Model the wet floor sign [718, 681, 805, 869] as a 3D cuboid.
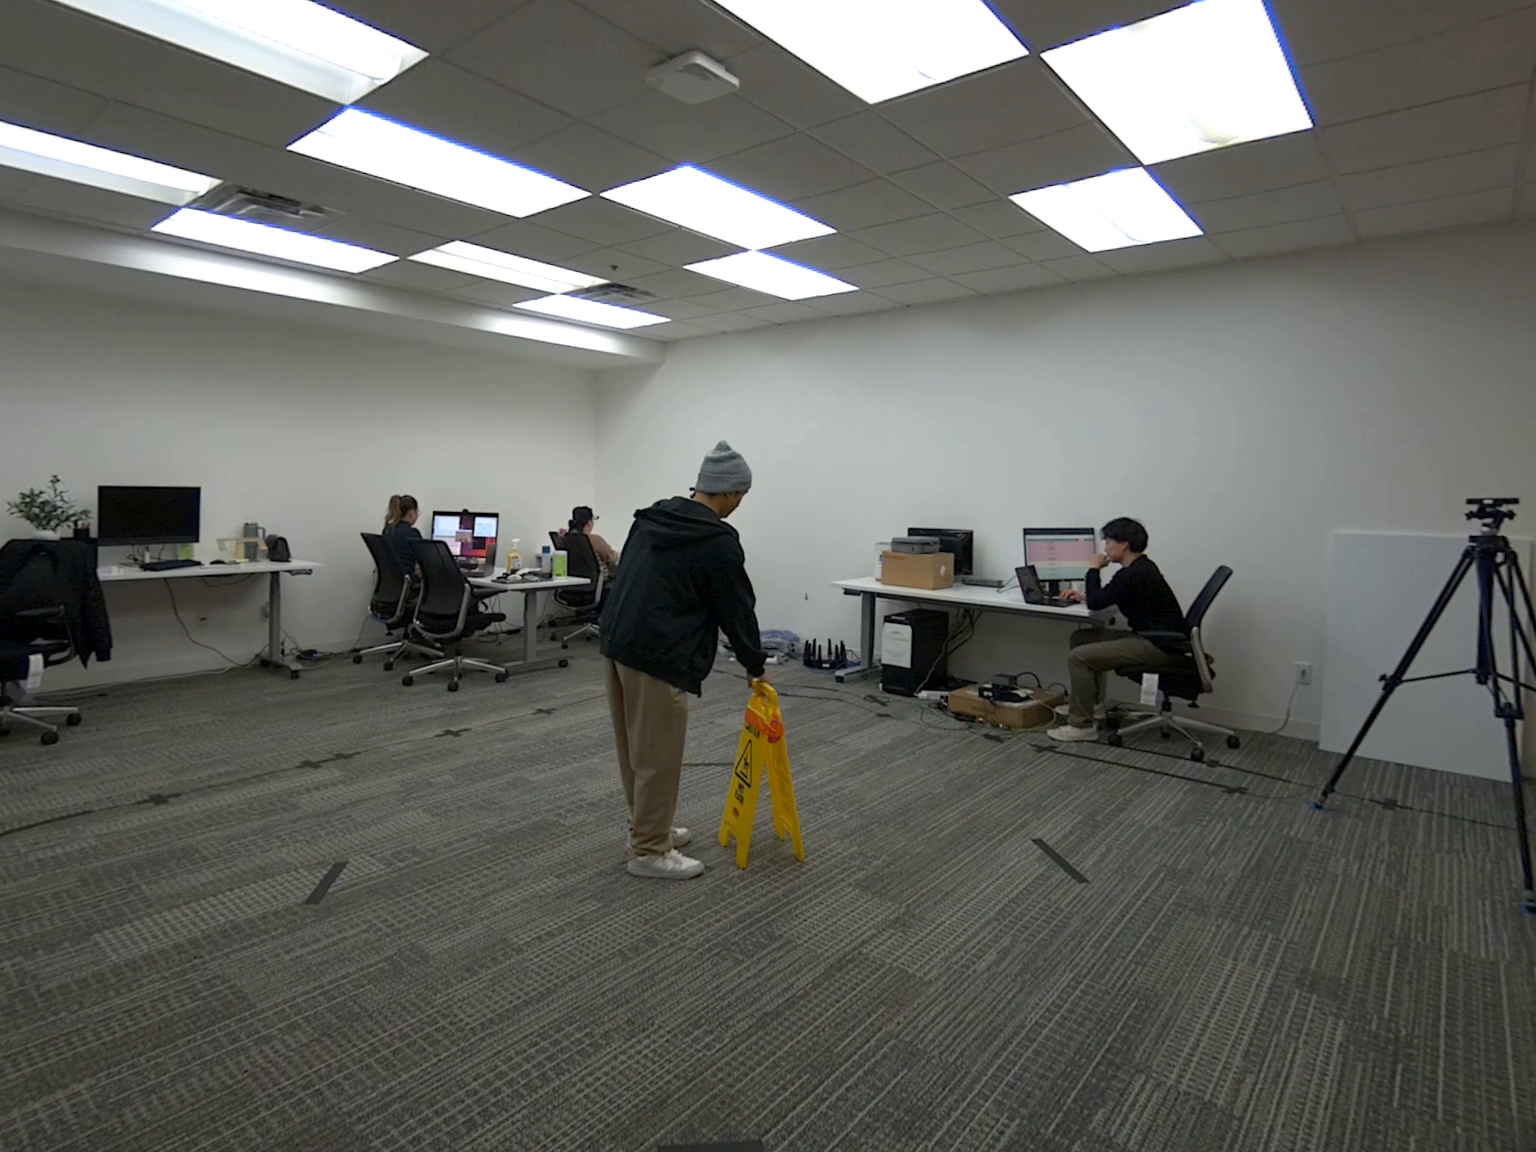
[{"bbox_3d":[-0.027,0.729,3.257,0.284,0.644,0.289,1,4,-19],"label":"wet floor sign"}]
